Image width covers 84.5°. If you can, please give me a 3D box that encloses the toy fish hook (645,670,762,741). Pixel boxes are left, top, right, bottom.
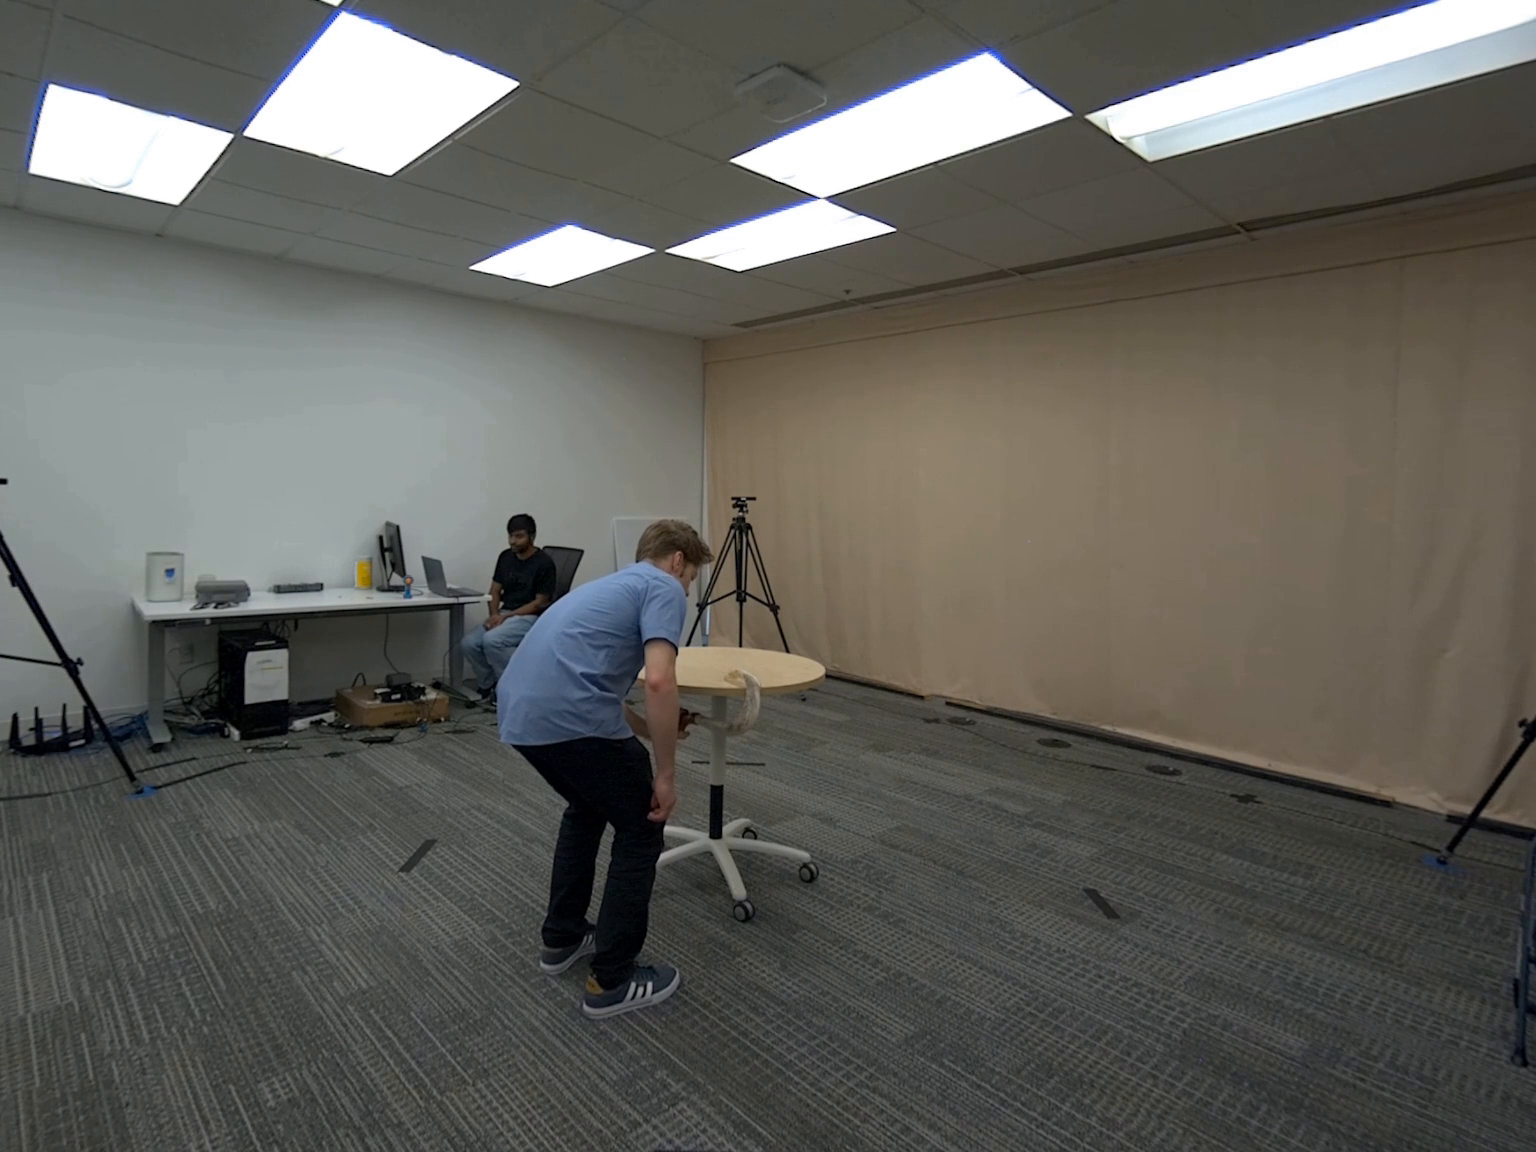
[{"bbox_3d":[-0.200,0.437,2.822,0.047,0.227,0.515,27,-26,-33],"label":"toy fish hook"}]
